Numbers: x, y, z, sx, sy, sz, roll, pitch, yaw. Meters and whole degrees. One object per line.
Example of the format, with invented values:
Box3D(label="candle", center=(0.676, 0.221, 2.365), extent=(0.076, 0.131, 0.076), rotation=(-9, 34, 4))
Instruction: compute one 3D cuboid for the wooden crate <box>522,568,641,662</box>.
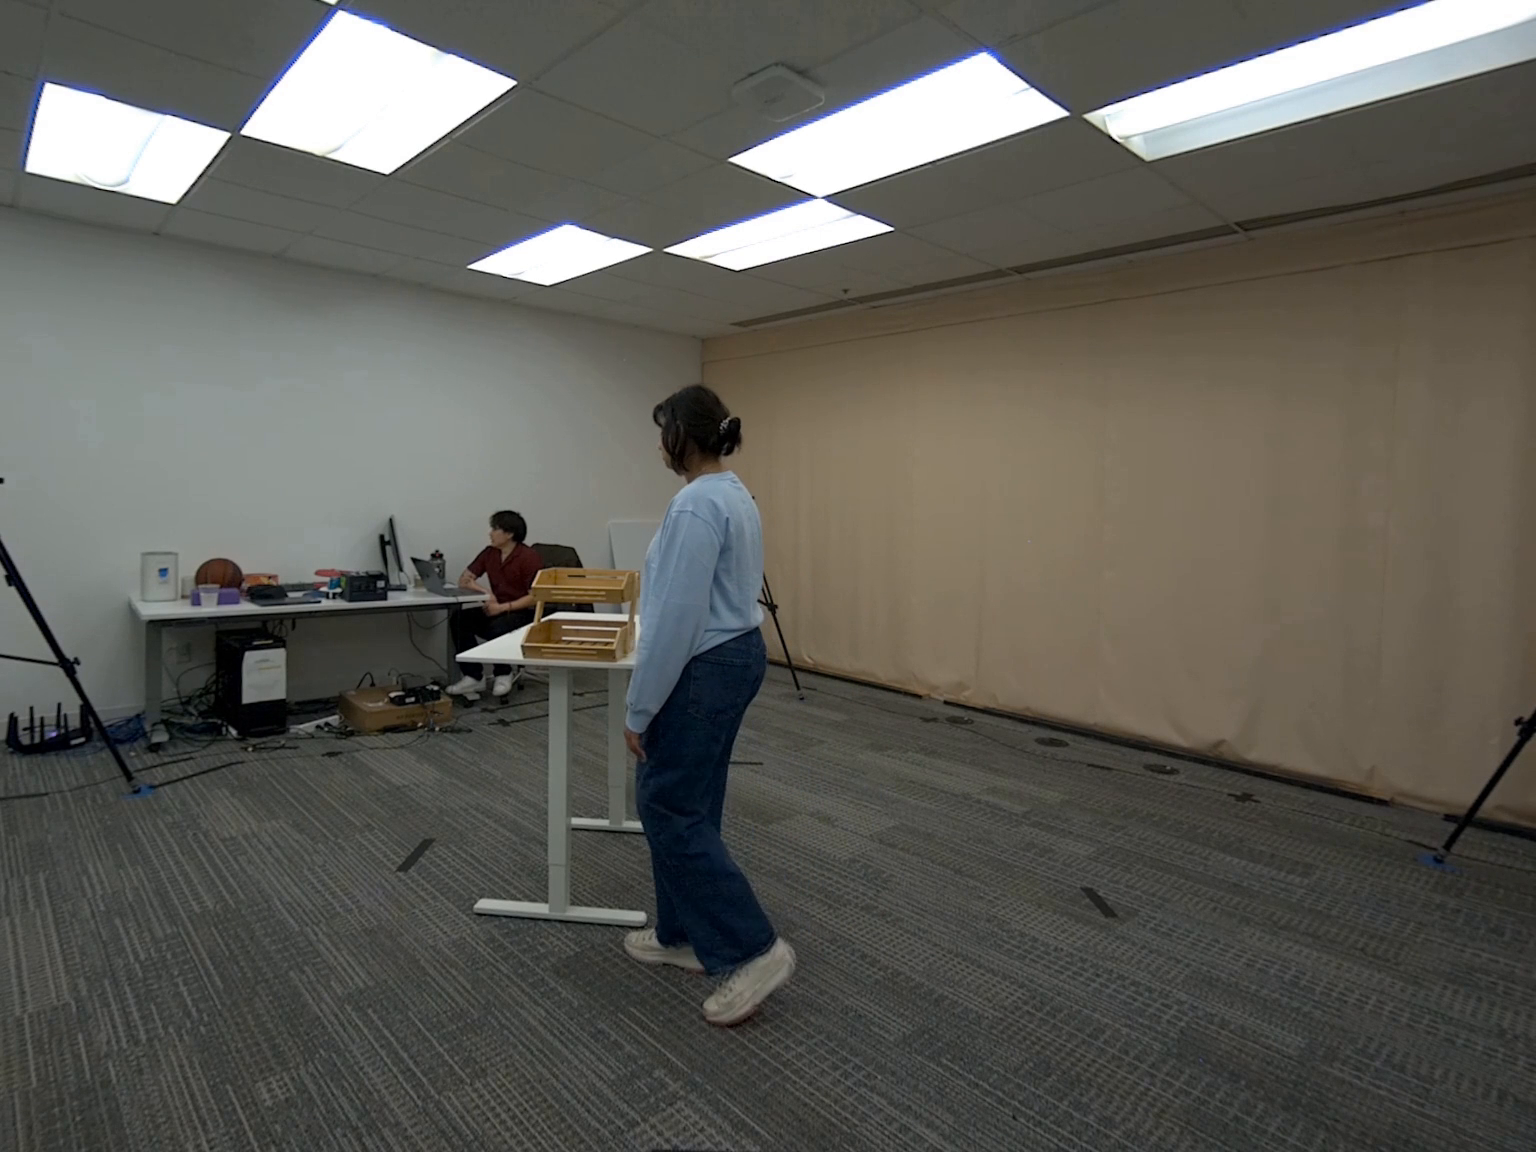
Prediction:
Box3D(label="wooden crate", center=(-0.611, 0.121, 2.702), extent=(0.326, 0.273, 0.301), rotation=(1, 4, 7))
